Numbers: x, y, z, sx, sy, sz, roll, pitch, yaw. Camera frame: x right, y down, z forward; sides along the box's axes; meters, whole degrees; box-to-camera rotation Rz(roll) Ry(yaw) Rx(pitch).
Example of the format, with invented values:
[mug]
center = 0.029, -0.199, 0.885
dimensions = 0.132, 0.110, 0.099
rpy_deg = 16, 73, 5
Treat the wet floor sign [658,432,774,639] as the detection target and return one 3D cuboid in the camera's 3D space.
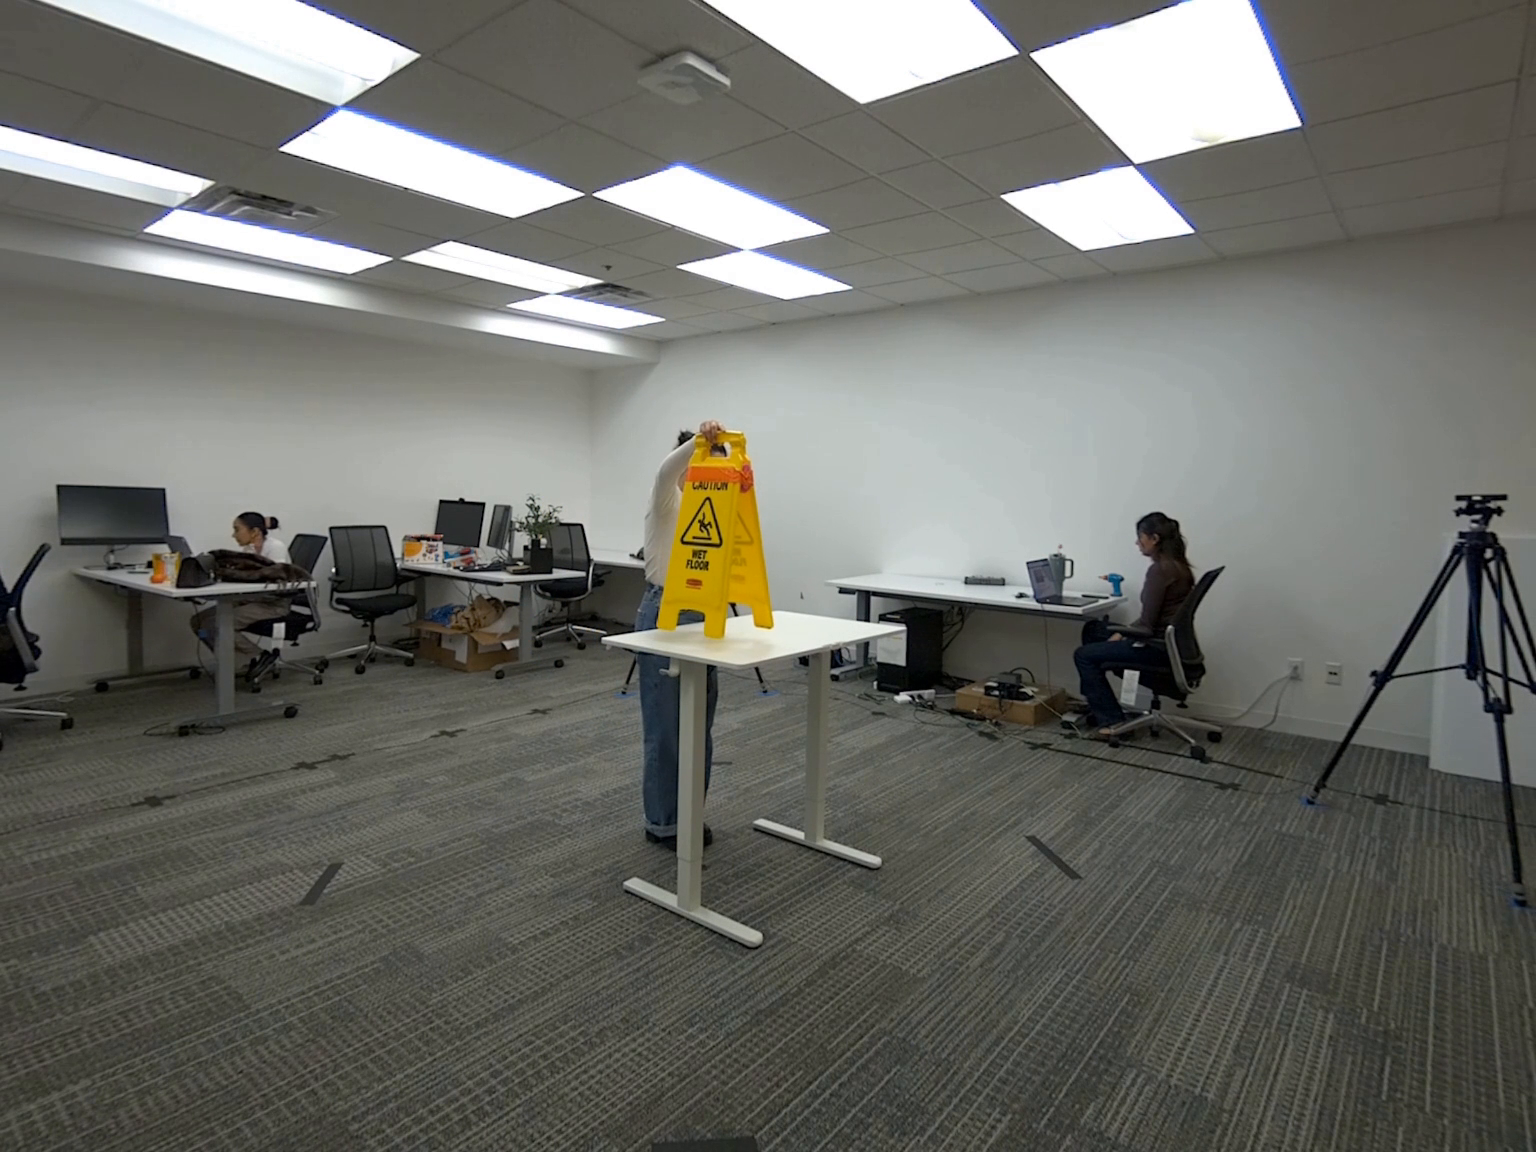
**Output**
[wet floor sign]
center = -0.173, -0.152, 2.788
dimensions = 0.291, 0.644, 0.281
rpy_deg = 3, 4, 38
